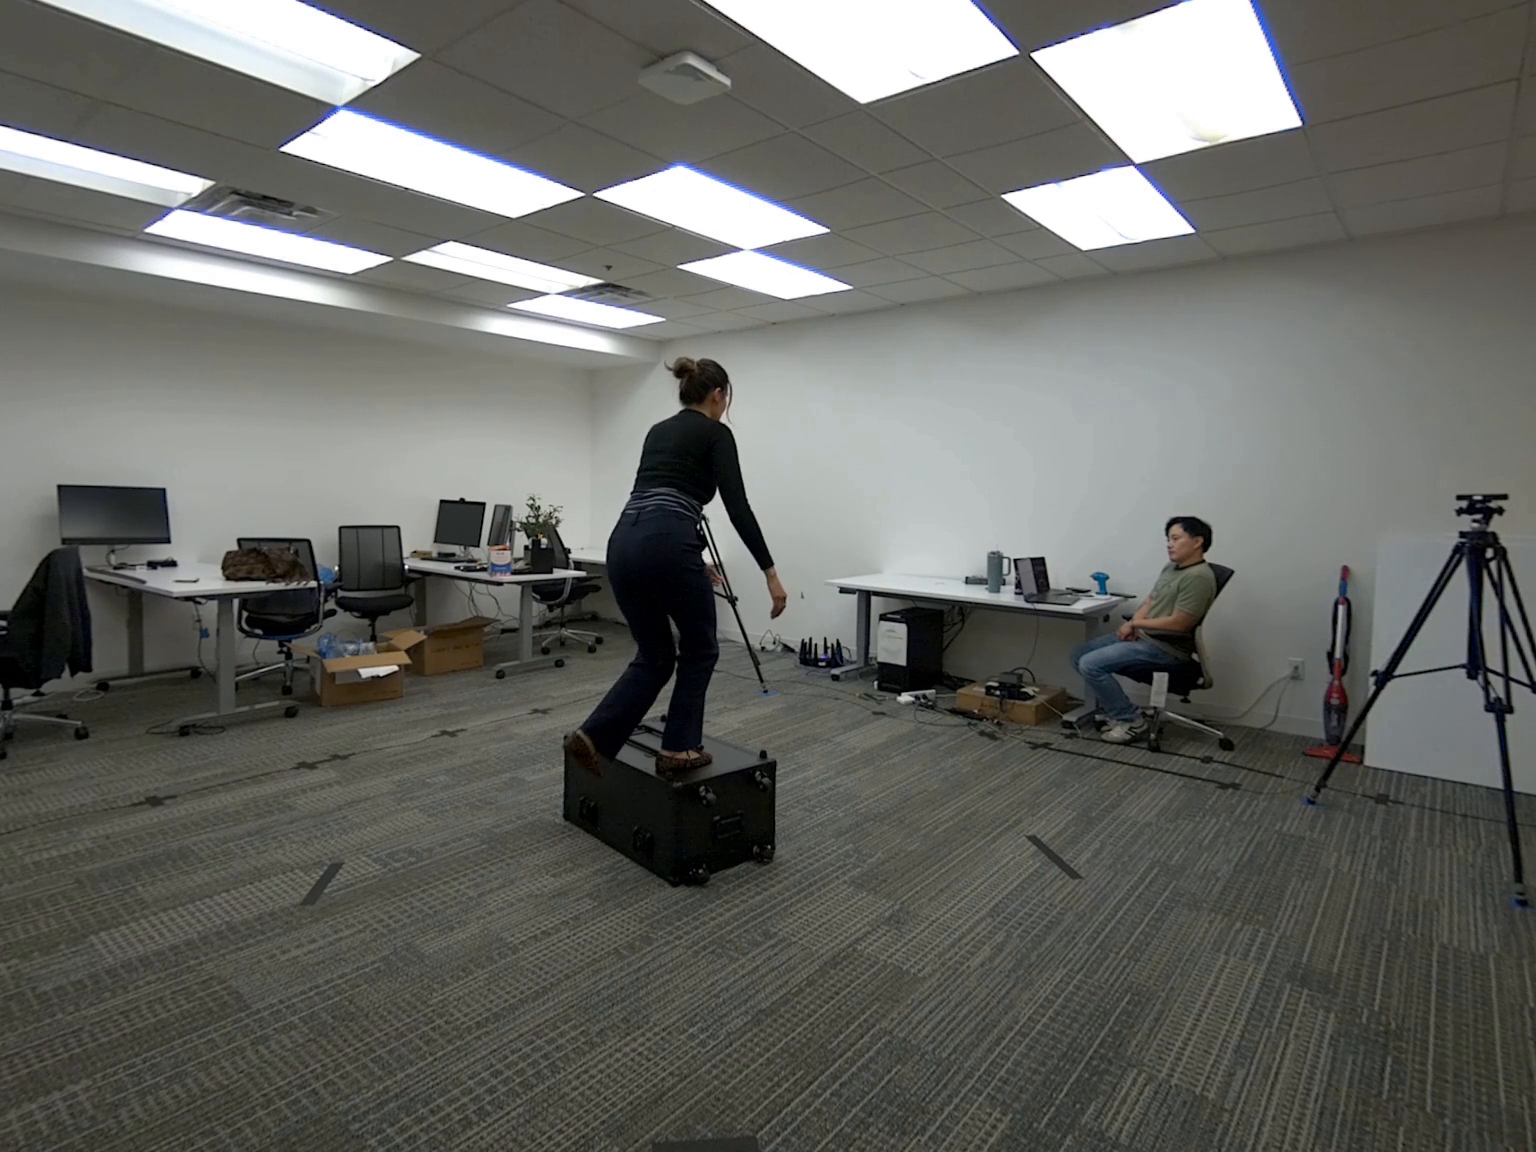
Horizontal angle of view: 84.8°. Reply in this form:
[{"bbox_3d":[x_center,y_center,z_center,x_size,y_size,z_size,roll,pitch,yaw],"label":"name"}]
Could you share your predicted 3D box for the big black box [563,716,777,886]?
[{"bbox_3d":[-0.441,0.858,3.412,0.505,0.395,0.891,-3,6,-41],"label":"big black box"}]
